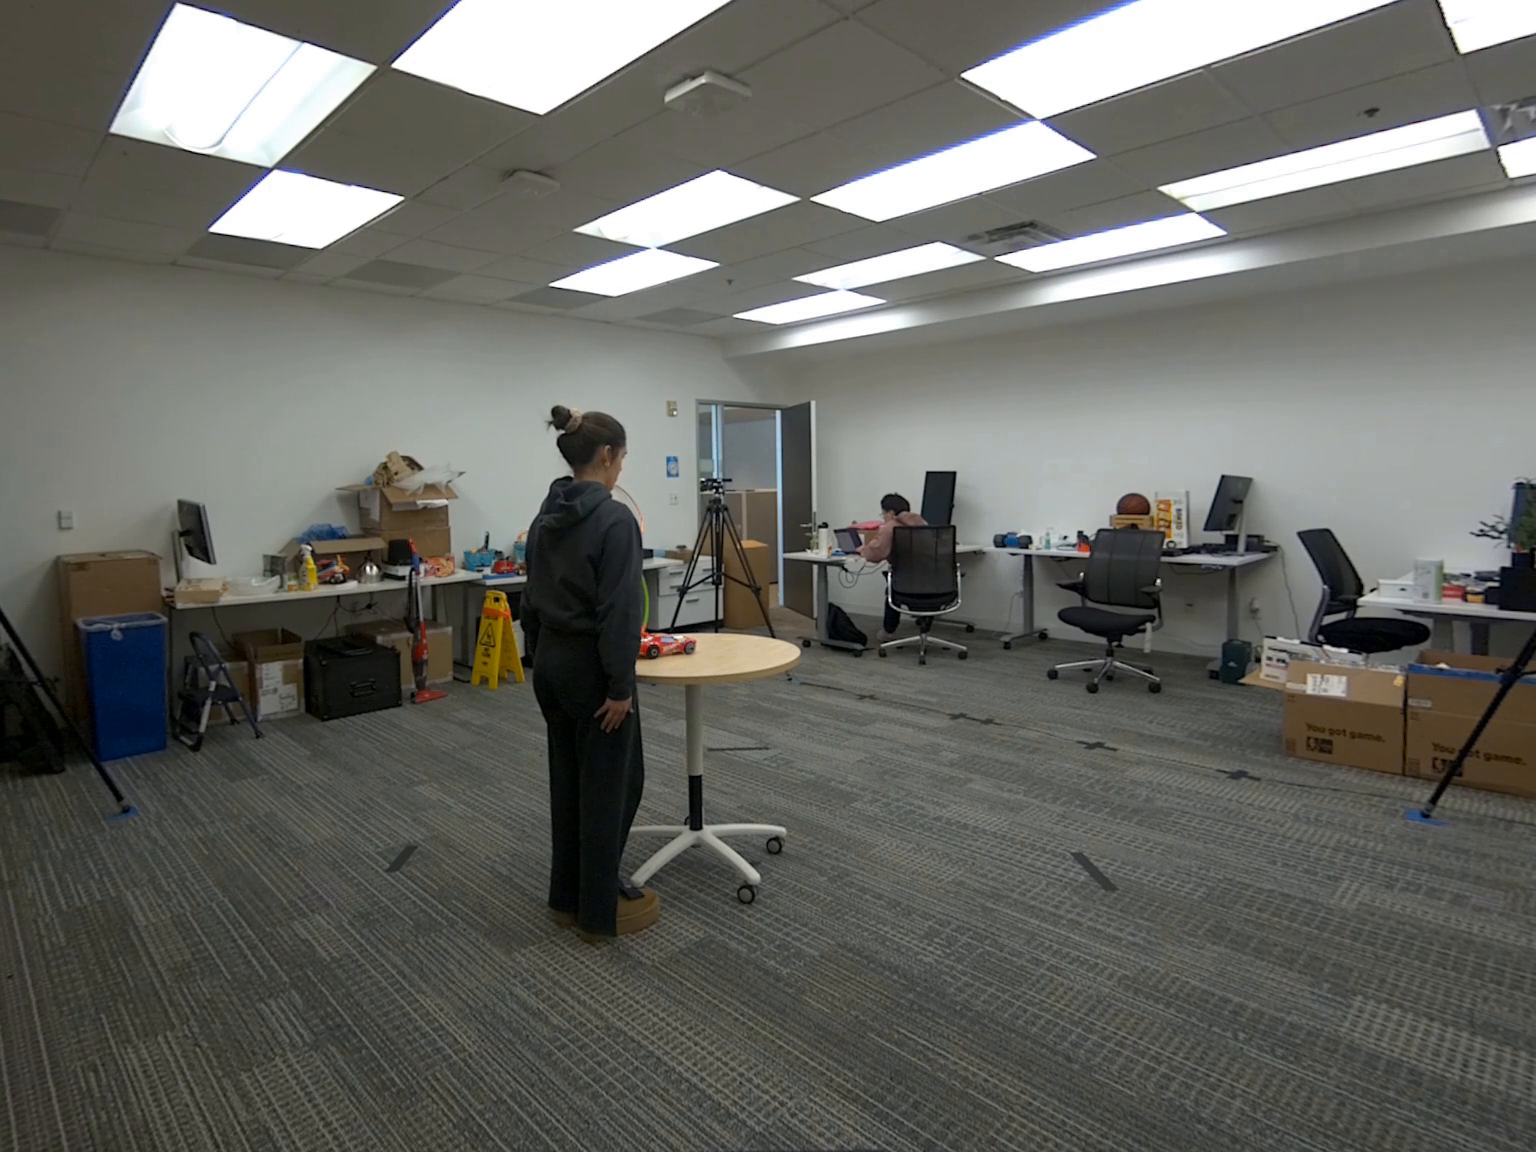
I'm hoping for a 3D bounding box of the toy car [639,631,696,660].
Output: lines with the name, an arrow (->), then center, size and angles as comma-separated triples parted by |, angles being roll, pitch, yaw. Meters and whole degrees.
toy car -> -0.383, 0.247, 3.001 | 0.247, 0.083, 0.134 | 9, -1, -31
